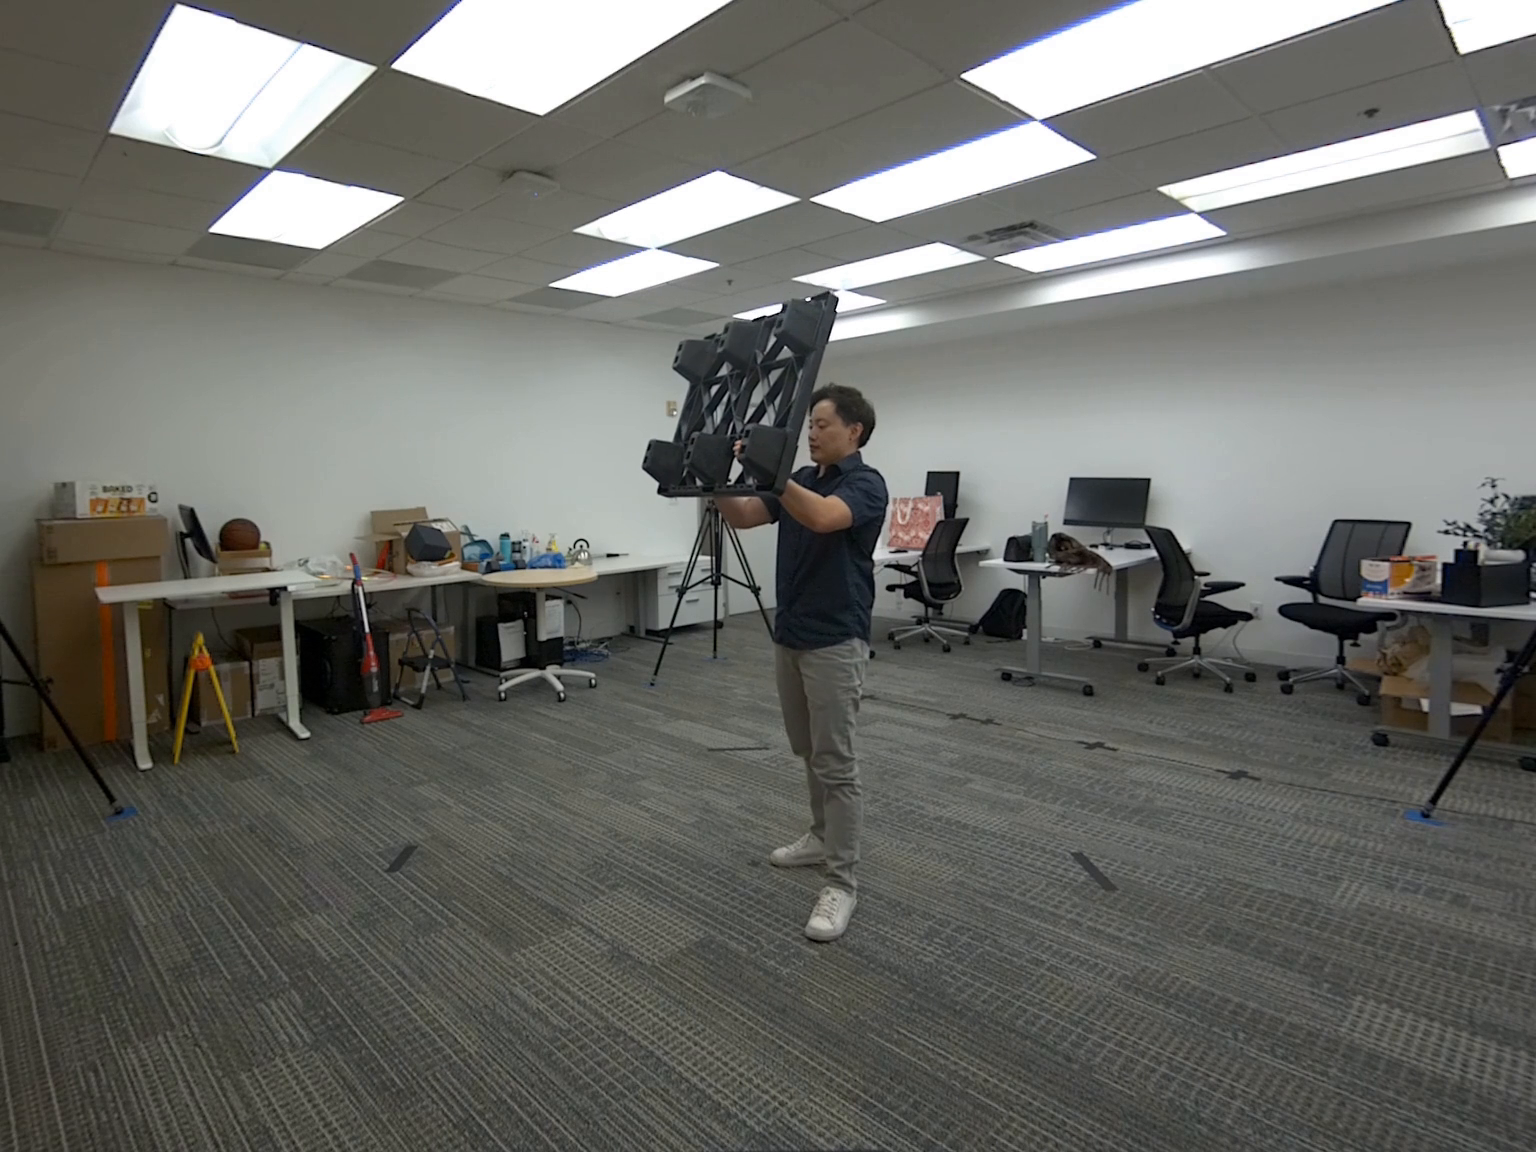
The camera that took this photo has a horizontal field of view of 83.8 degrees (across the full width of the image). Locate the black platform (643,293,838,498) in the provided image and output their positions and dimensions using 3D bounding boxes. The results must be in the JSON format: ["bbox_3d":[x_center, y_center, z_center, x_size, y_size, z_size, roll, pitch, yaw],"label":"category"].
[{"bbox_3d":[-0.129,-0.554,2.678,0.139,0.607,0.827,18,-6,-30],"label":"black platform"}]
